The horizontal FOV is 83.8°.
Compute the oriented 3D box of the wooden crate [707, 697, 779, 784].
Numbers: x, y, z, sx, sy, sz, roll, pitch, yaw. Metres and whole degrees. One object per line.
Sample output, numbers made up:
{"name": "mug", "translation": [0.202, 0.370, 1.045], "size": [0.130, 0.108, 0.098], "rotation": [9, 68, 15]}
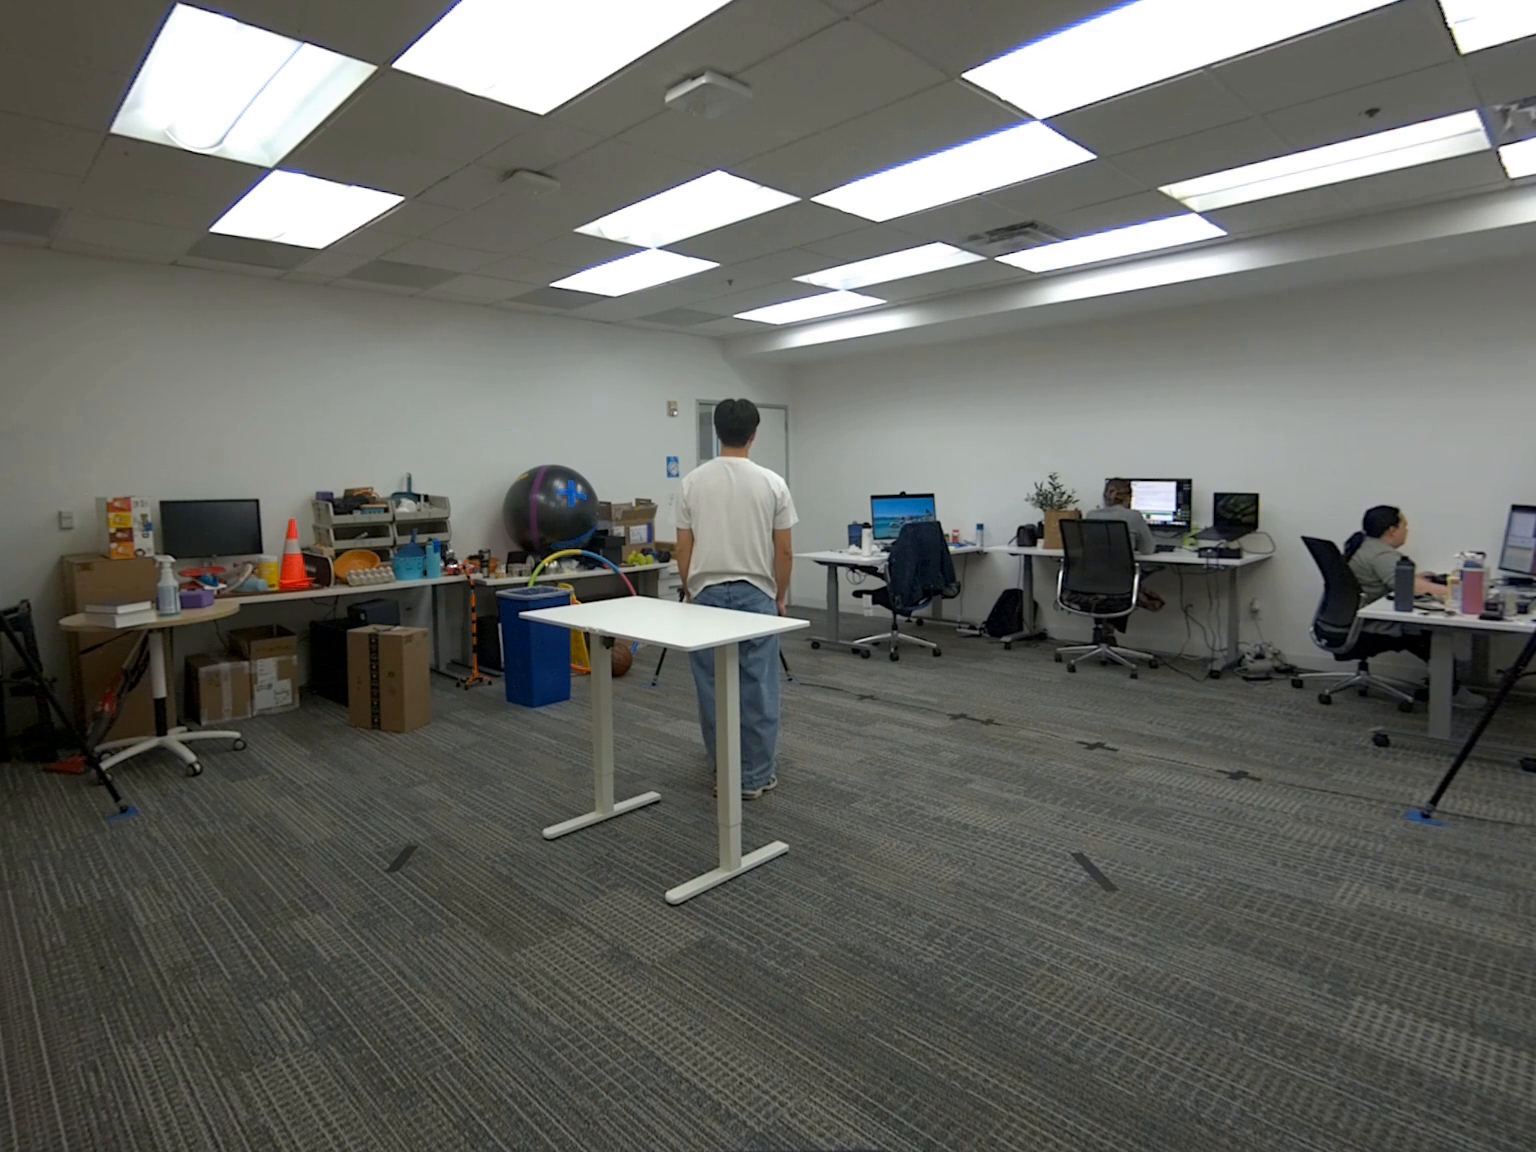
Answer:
{"name": "wooden crate", "translation": [-0.133, 0.797, 4.201], "size": [0.323, 0.297, 0.279], "rotation": [-2, 21, -5]}
